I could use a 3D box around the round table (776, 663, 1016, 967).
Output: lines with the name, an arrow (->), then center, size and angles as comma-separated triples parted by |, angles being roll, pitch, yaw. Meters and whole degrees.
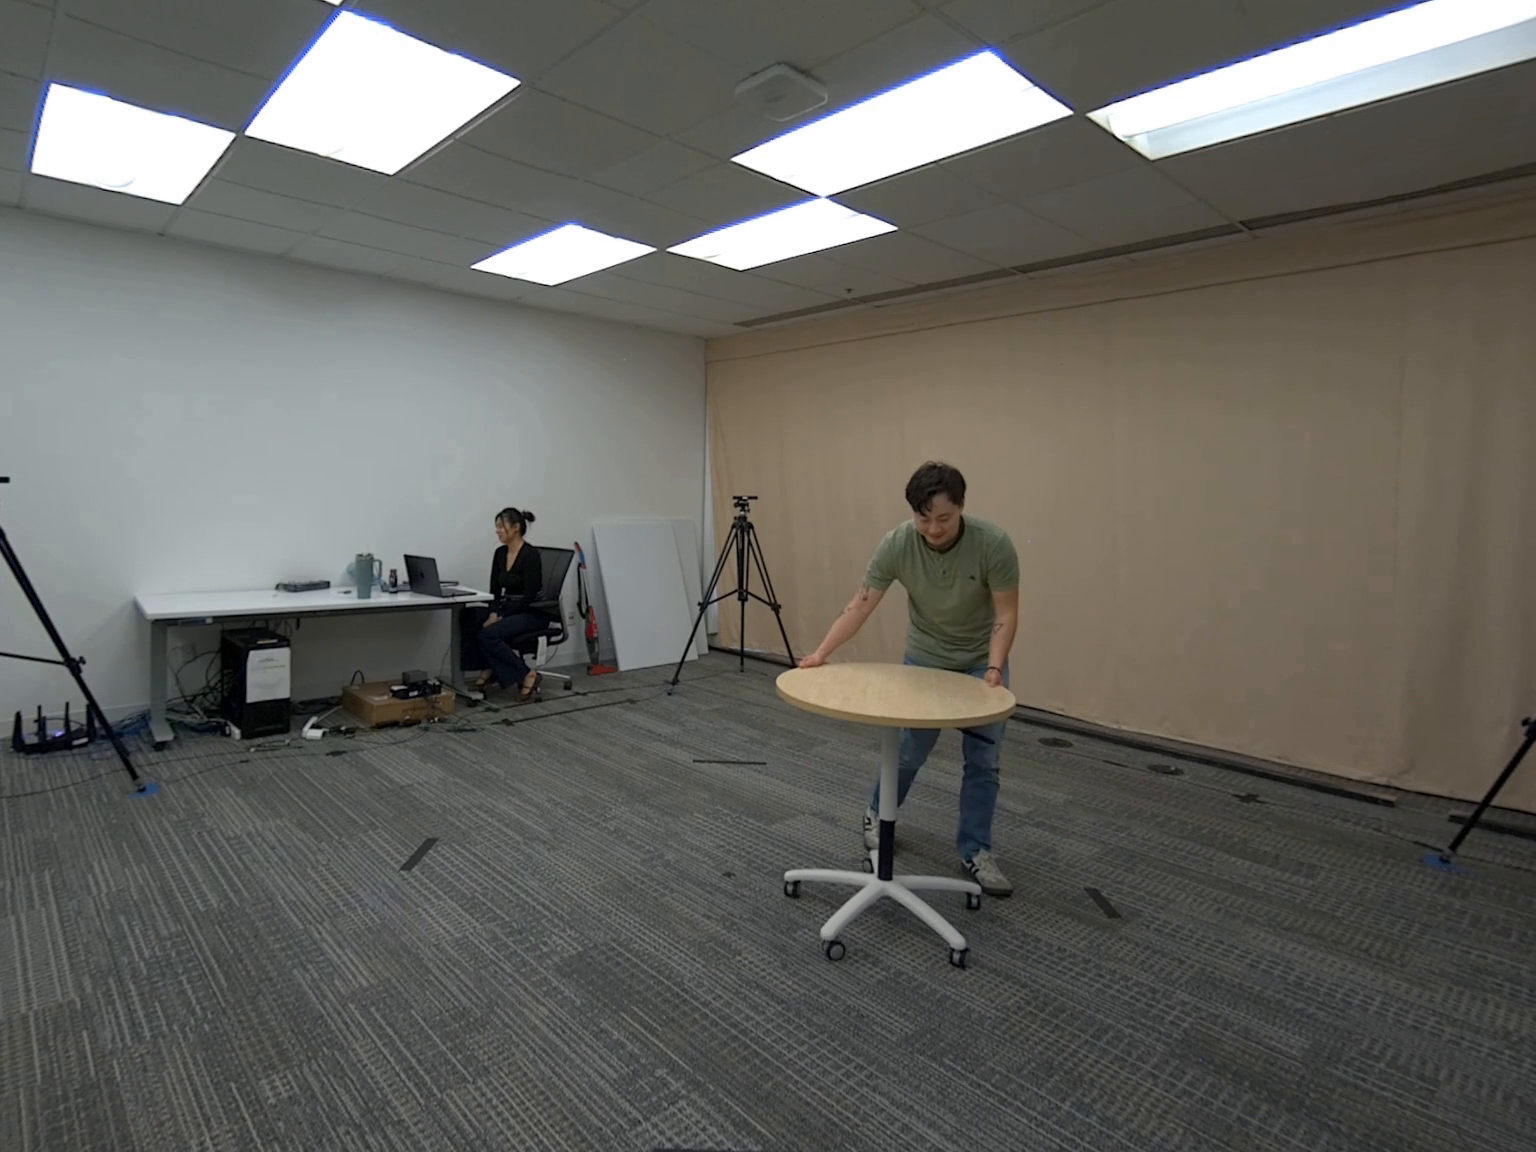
round table -> 0.386, 0.755, 2.783 | 0.763, 0.791, 0.767 | 2, 5, -2
